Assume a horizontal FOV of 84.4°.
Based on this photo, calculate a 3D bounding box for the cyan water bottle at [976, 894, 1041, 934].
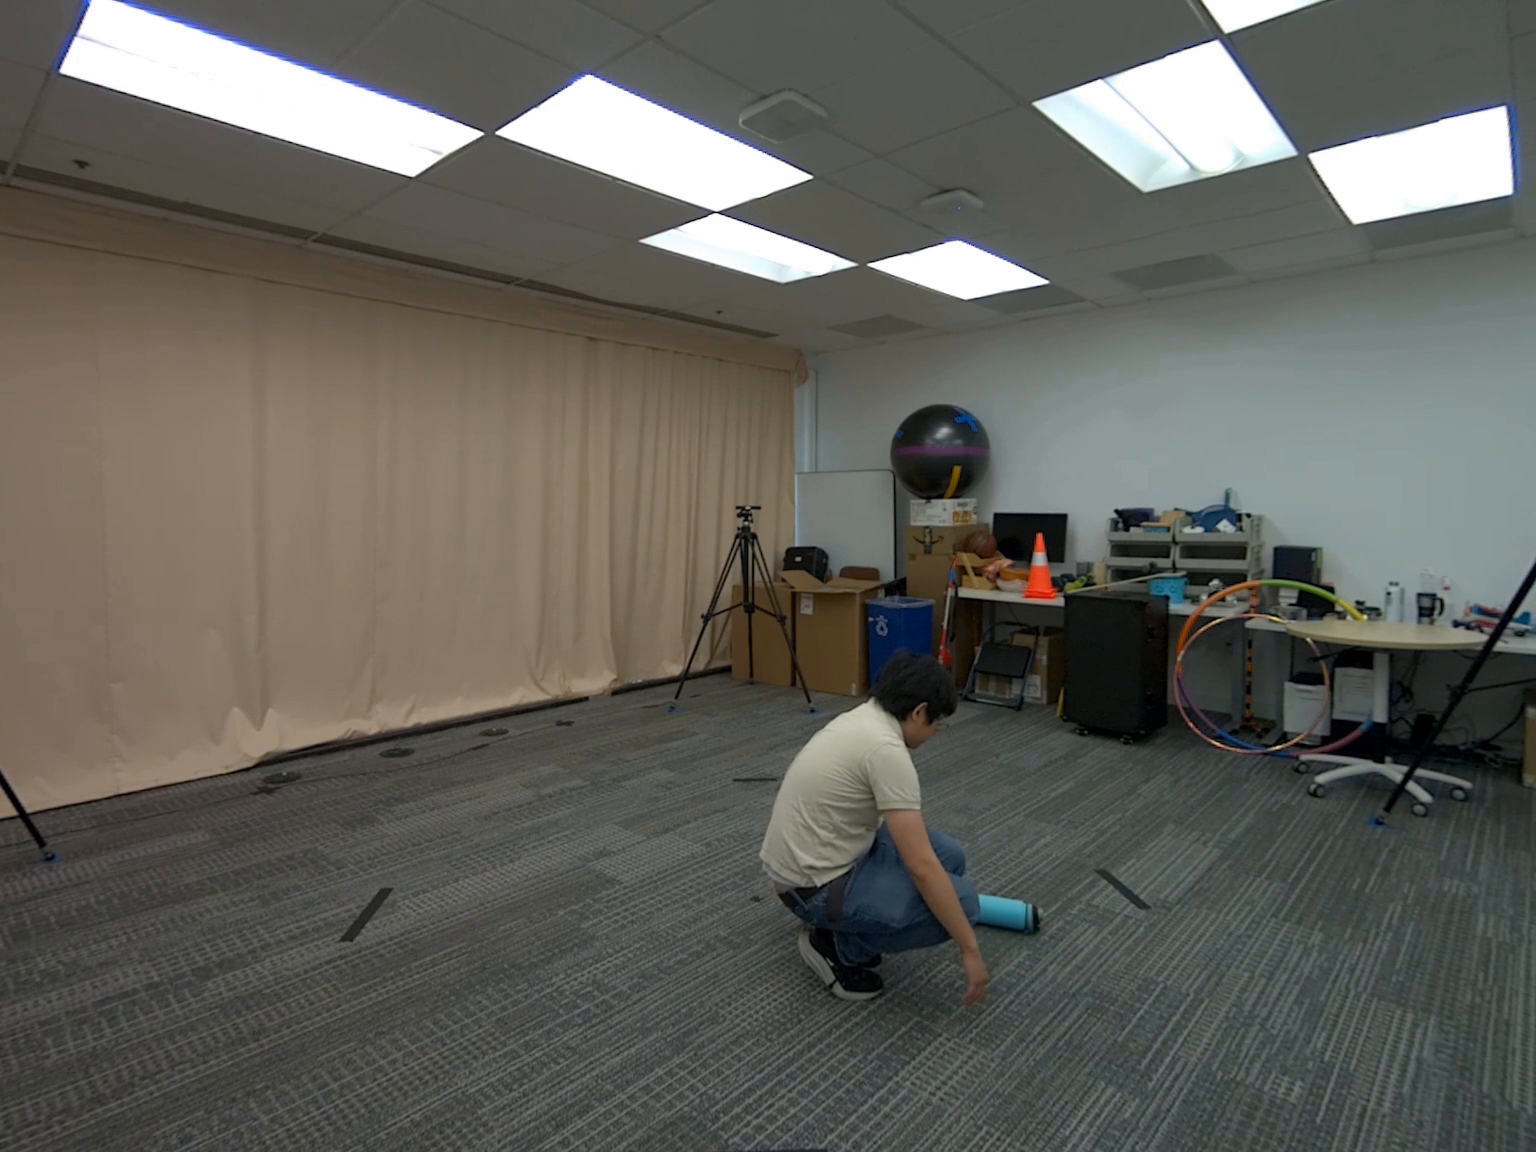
[{"bbox_3d":[0.767,1.110,2.781,0.290,0.092,0.090,1,4,22],"label":"cyan water bottle"}]
